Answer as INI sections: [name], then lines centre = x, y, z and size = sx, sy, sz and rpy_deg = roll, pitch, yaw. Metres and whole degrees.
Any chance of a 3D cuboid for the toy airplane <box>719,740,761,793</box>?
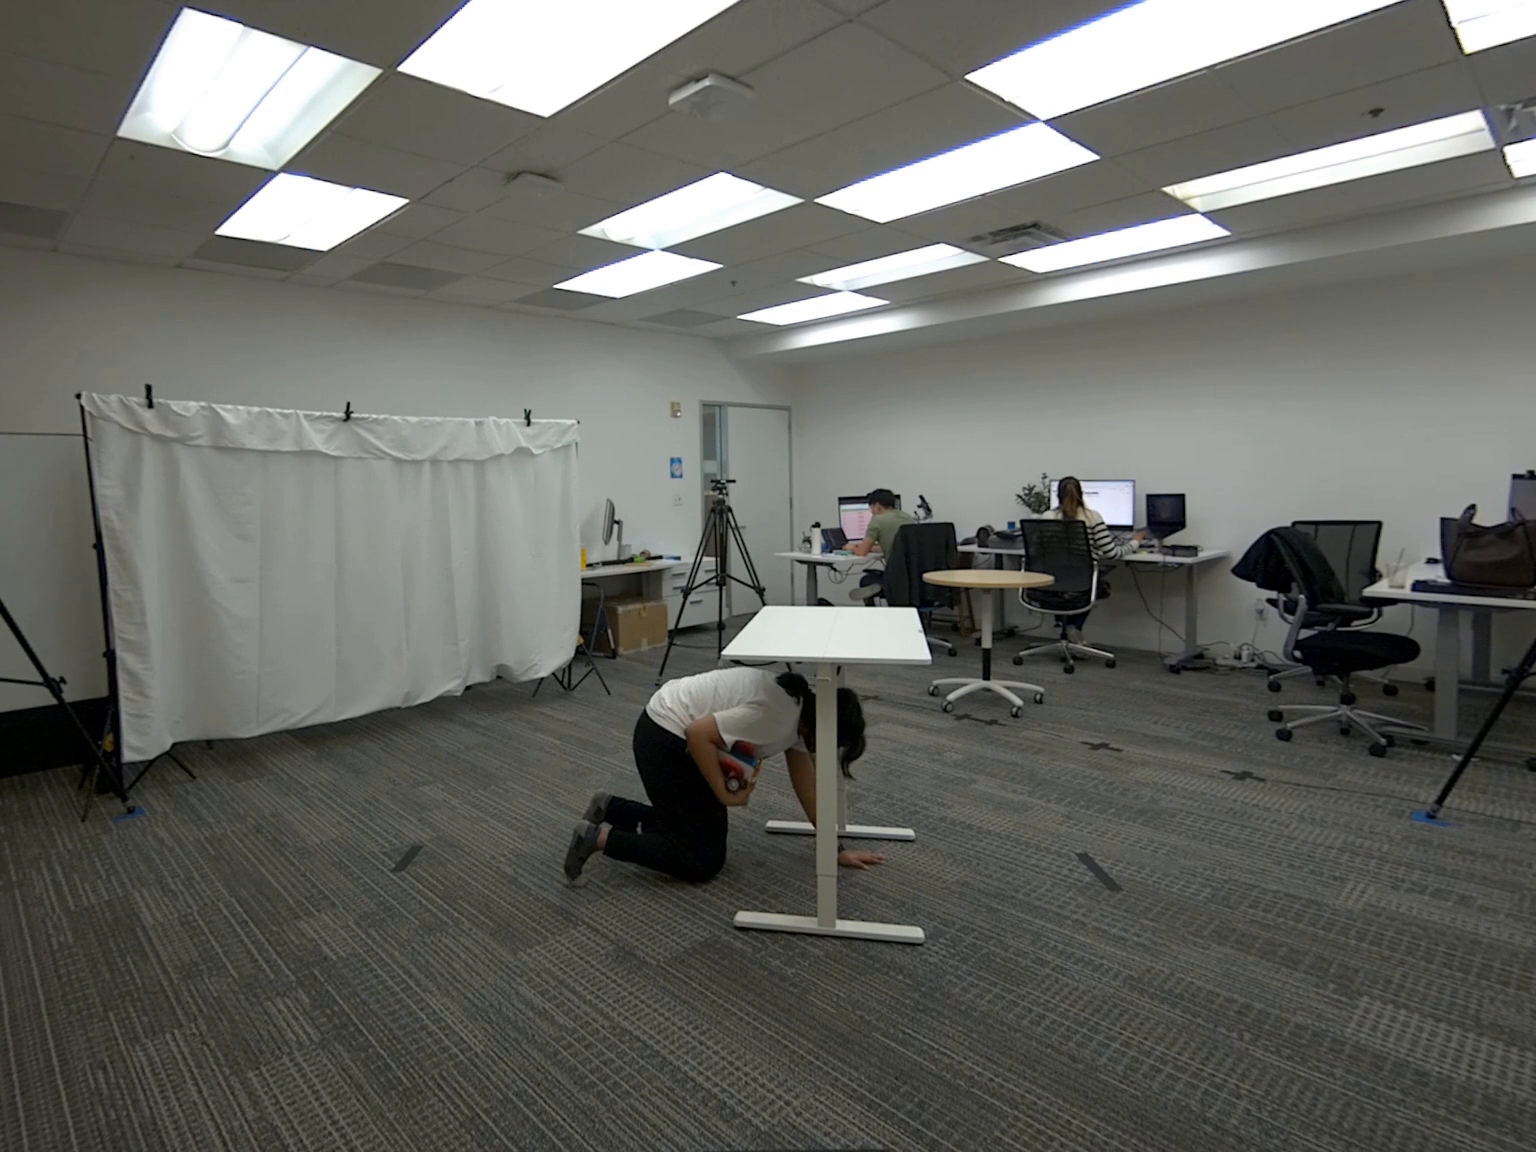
[toy airplane]
centre = -0.153, 0.607, 2.873
size = 0.156, 0.253, 0.257
rpy_deg = -45, 22, -25
